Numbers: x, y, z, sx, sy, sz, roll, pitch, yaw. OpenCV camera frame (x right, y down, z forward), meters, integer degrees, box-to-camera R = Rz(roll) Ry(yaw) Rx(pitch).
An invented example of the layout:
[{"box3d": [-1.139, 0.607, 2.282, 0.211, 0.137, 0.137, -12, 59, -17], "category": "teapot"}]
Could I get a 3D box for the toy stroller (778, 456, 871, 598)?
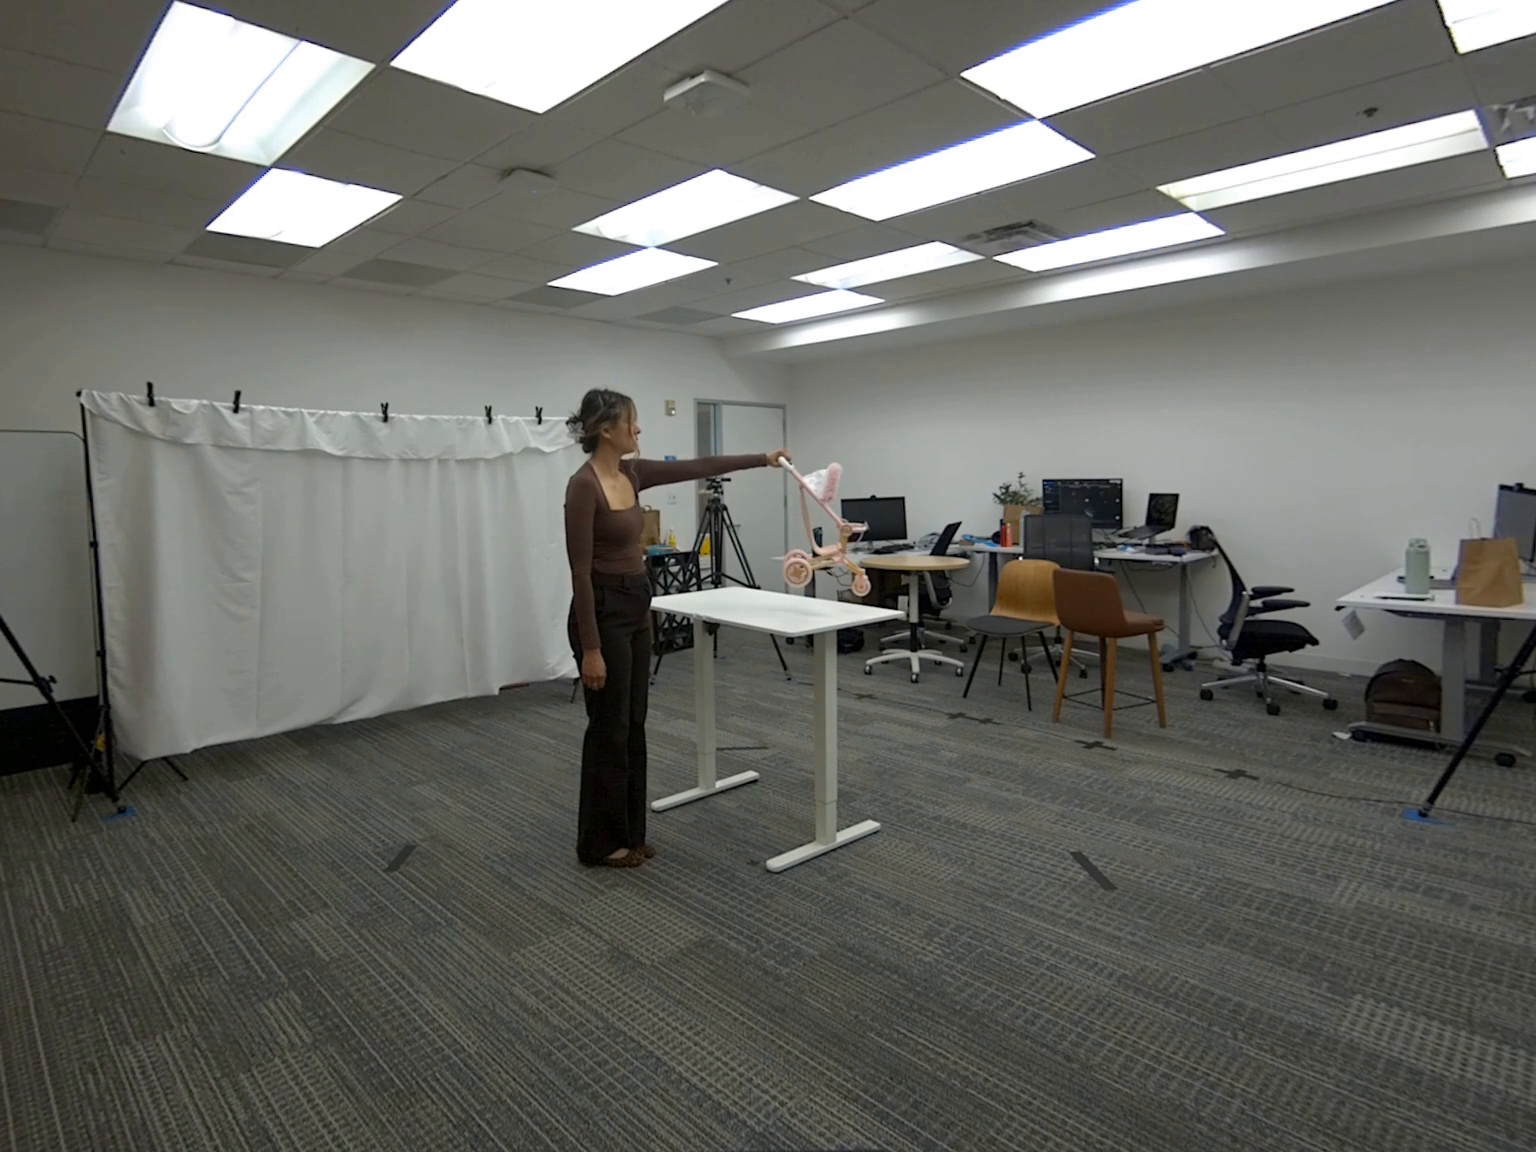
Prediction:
[{"box3d": [0.229, -0.186, 3.246, 0.345, 0.532, 0.280, 0, 5, 9], "category": "toy stroller"}]
